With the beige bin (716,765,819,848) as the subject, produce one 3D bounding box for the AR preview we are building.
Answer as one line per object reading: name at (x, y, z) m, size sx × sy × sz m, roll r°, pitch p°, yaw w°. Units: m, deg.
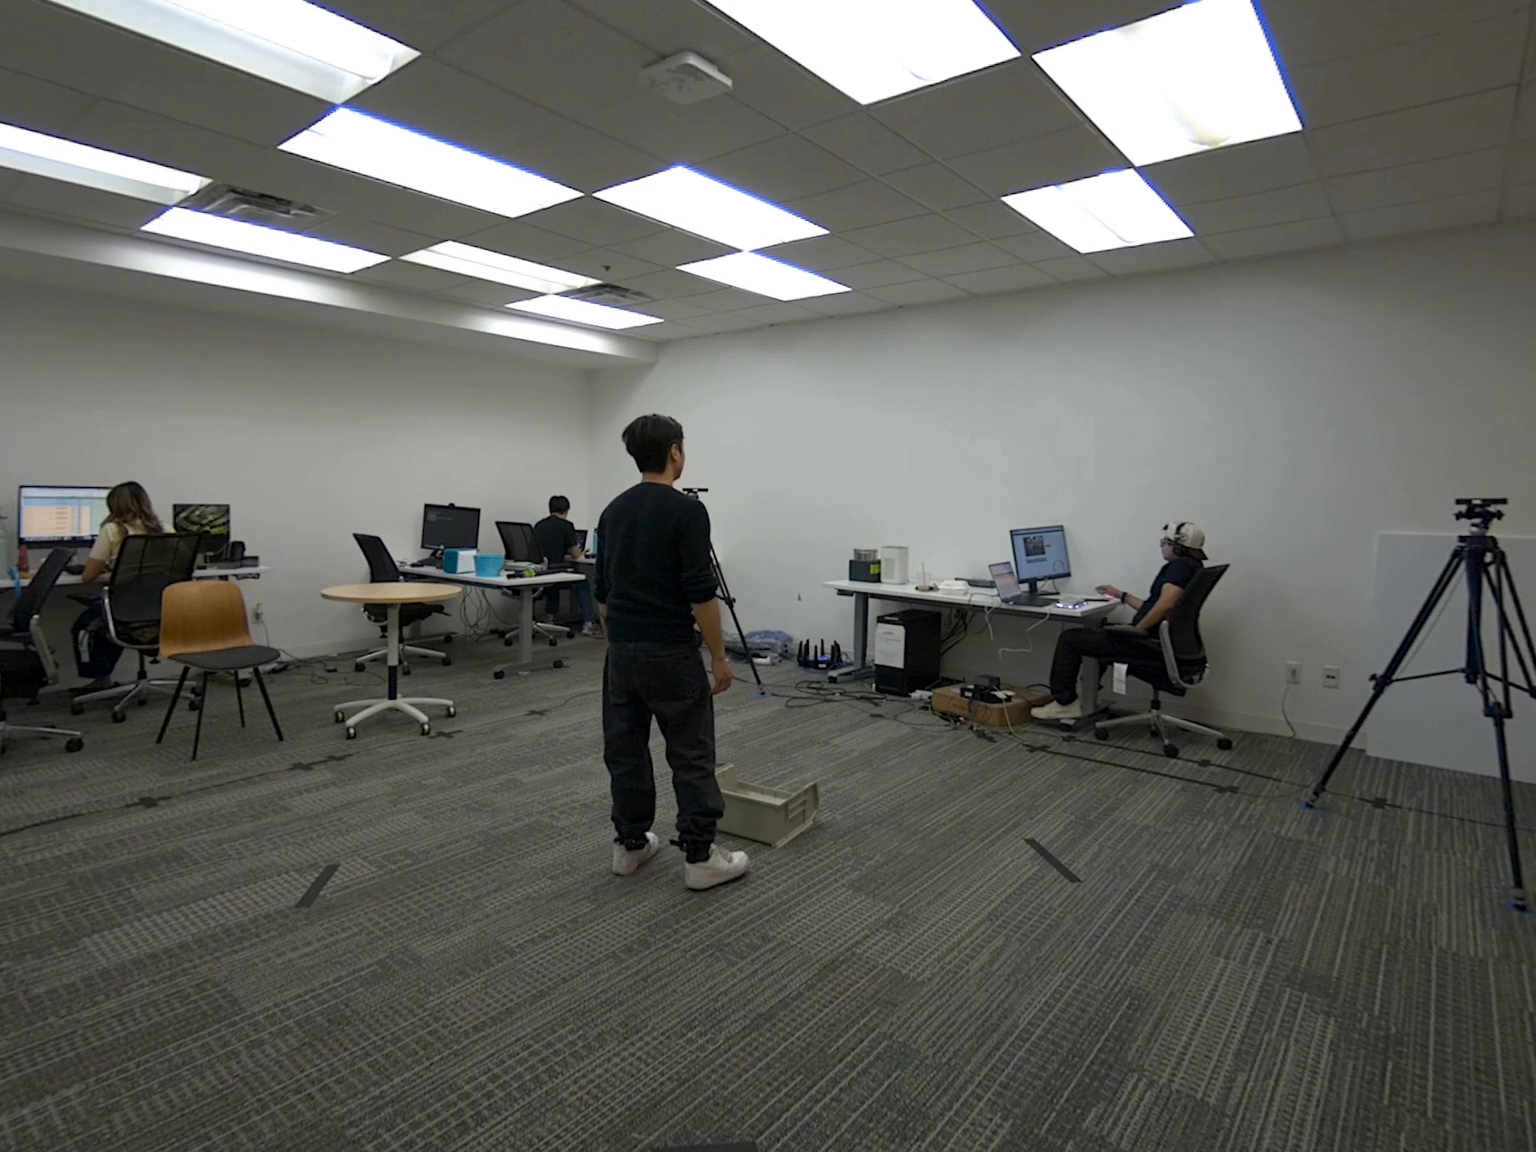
beige bin at (-0.060, 0.941, 3.555) m, size 0.435 × 0.188 × 0.368 m, roll 4°, pitch 7°, yaw 30°
